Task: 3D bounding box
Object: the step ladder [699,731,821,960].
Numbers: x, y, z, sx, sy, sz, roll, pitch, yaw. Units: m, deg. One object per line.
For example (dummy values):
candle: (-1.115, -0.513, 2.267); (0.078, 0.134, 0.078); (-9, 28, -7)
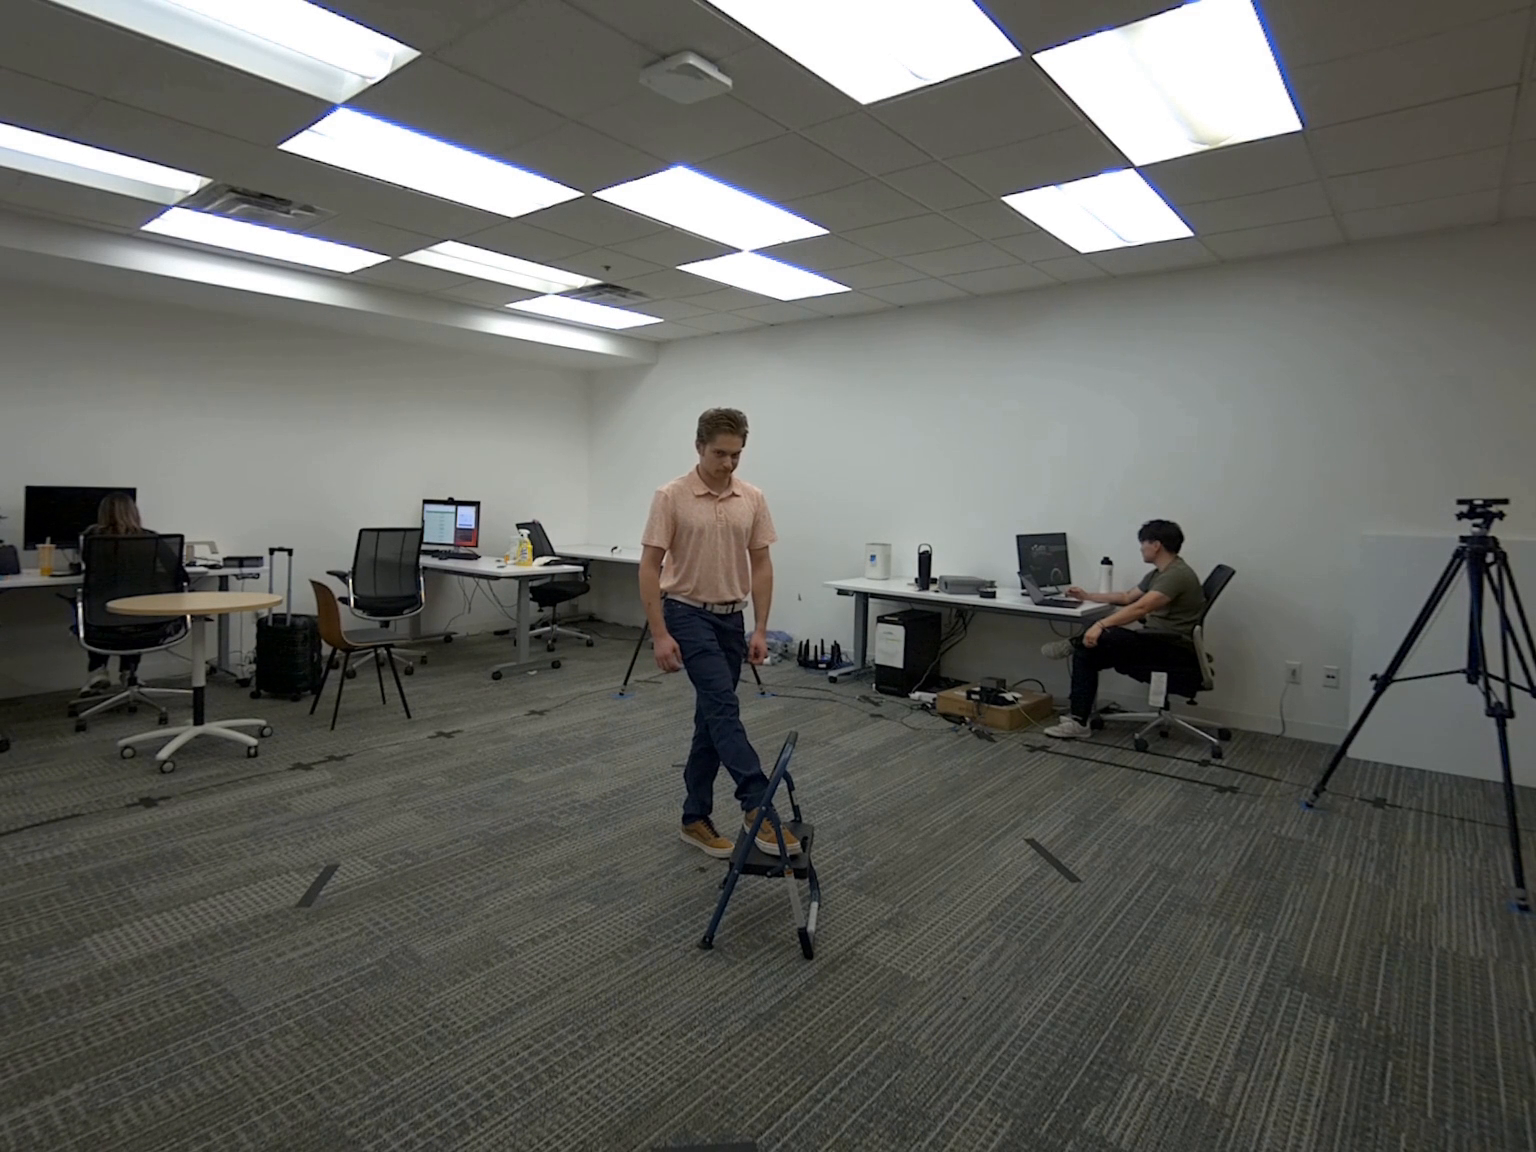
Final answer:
step ladder: (-0.009, 0.811, 2.732); (0.352, 0.604, 0.428); (2, 4, 7)
